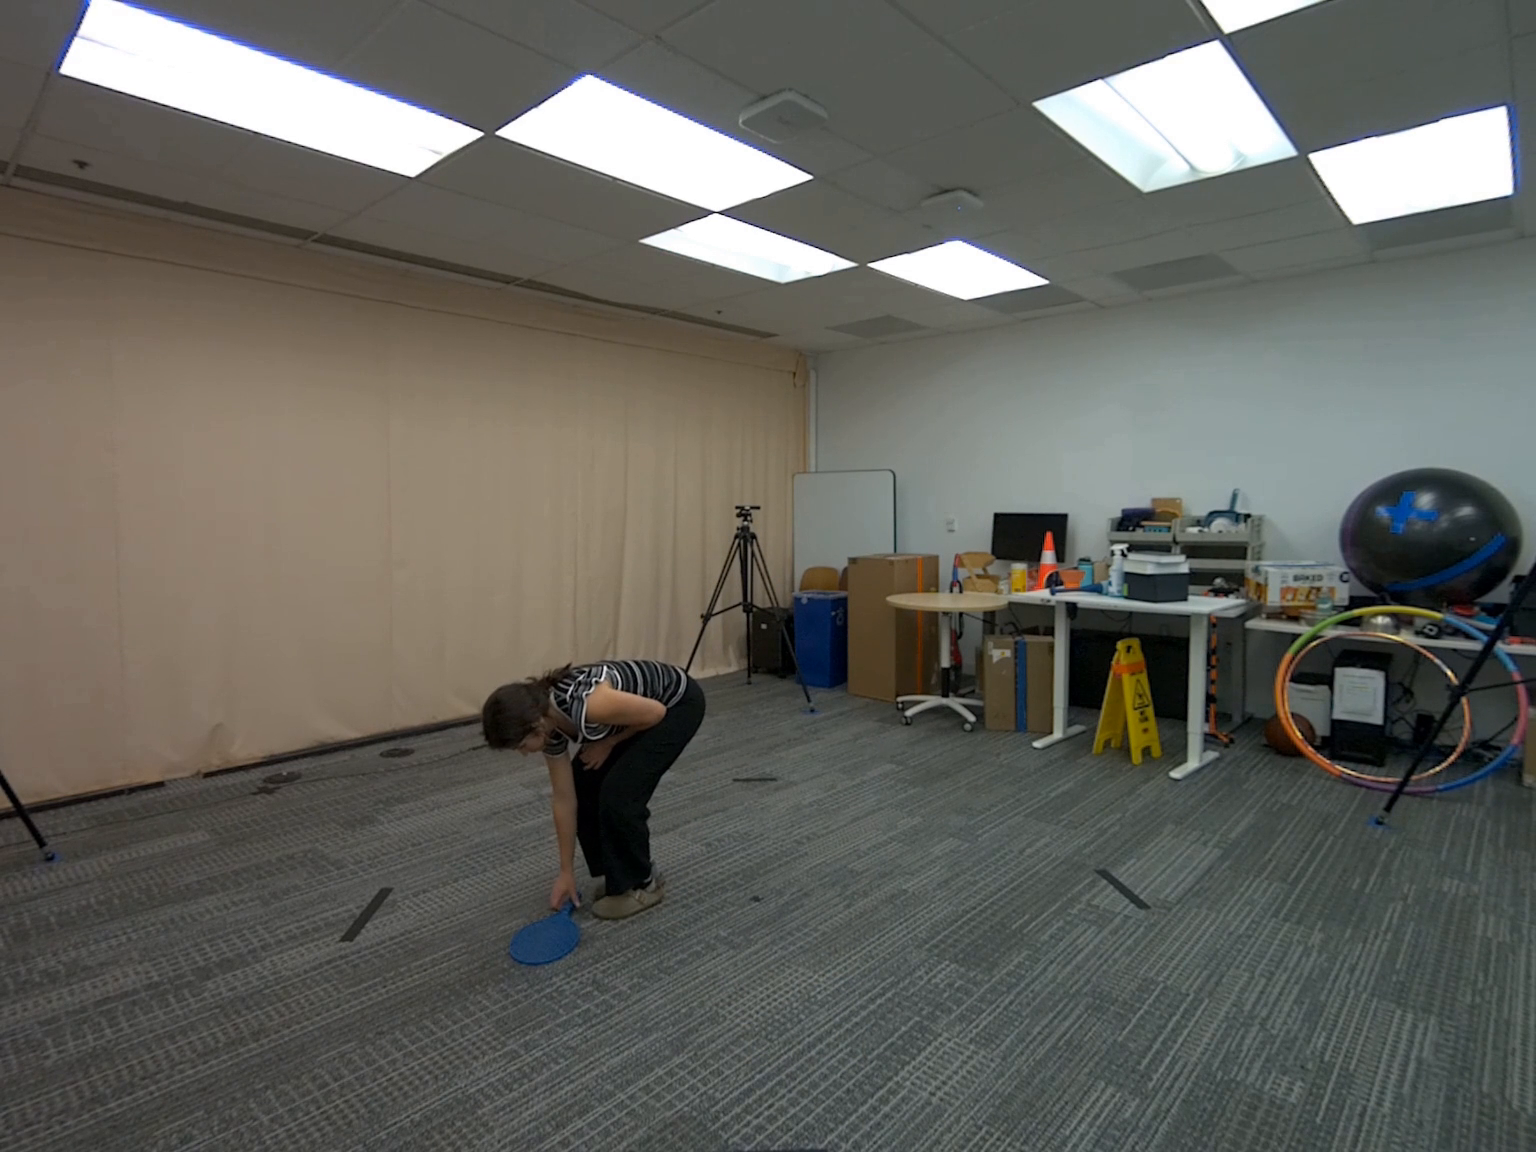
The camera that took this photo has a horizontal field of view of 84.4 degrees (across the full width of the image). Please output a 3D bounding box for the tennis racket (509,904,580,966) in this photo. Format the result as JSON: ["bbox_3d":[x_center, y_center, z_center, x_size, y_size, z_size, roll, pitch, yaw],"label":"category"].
[{"bbox_3d":[-0.695,1.150,2.775,0.215,0.031,0.432,0,6,4],"label":"tennis racket"}]
